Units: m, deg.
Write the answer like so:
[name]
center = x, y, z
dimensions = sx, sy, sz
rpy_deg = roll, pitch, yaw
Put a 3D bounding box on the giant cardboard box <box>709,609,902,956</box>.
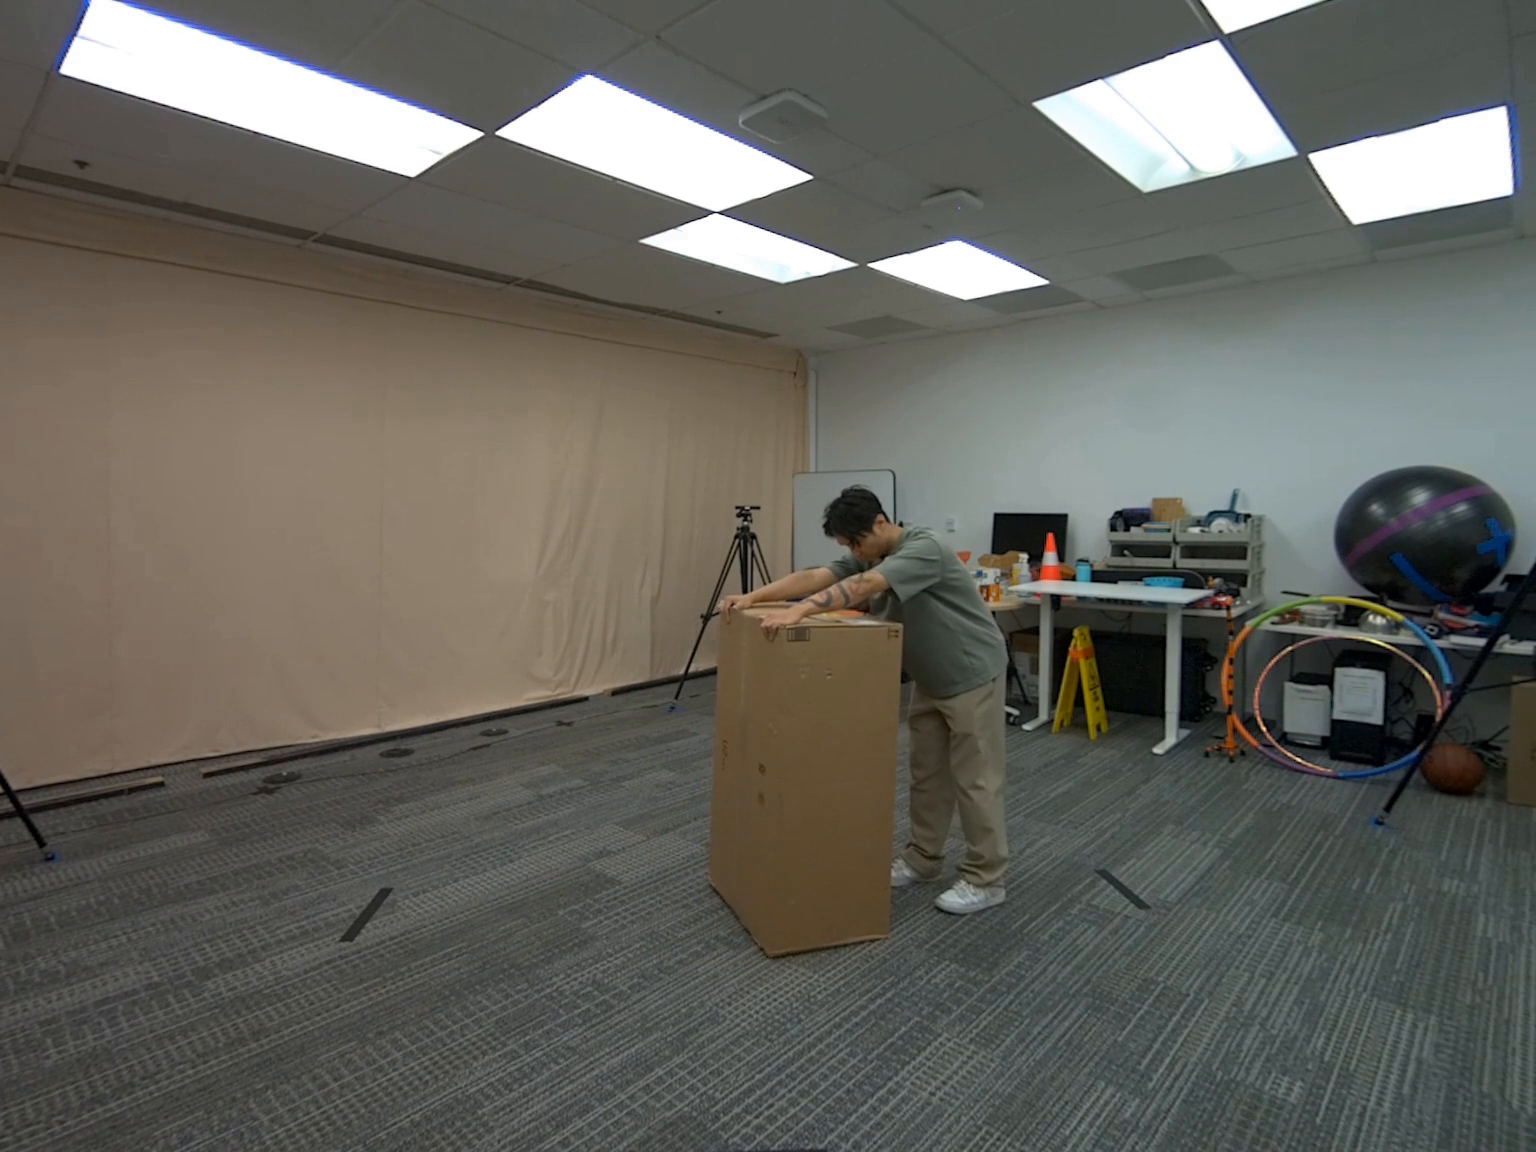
[giant cardboard box]
center = 0.114, 0.632, 2.893
dimensions = 0.417, 1.024, 0.591
rpy_deg = 1, 3, -22
